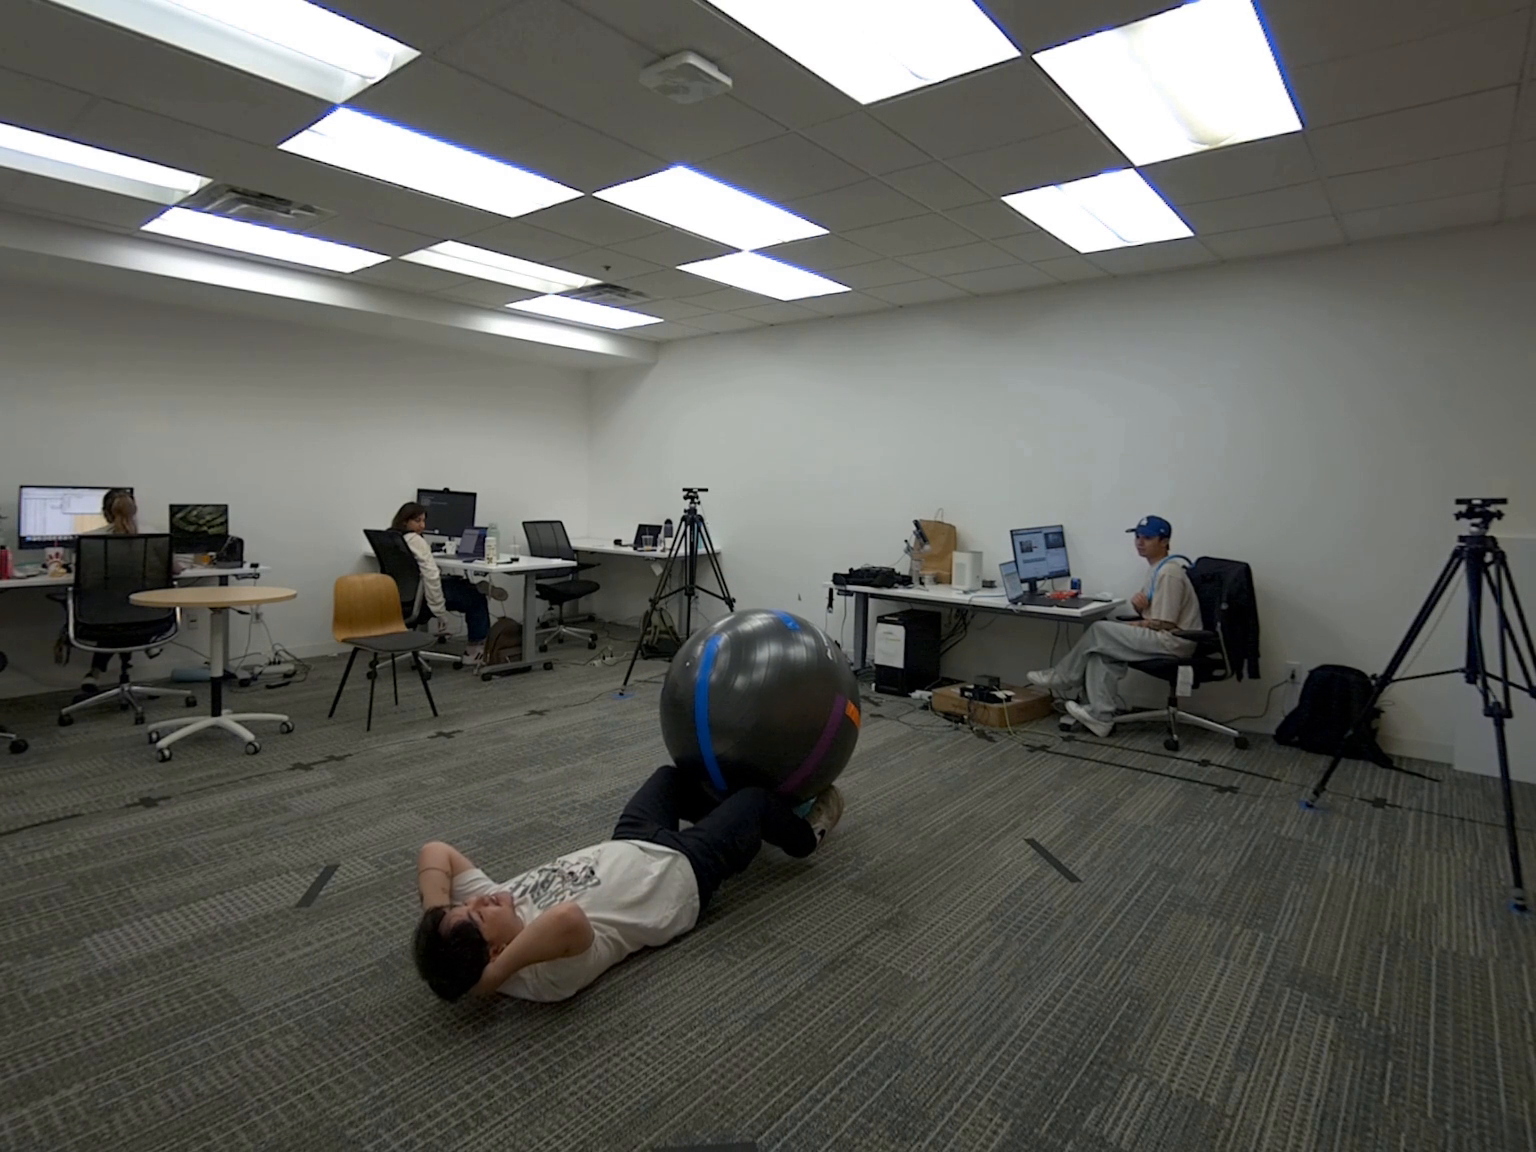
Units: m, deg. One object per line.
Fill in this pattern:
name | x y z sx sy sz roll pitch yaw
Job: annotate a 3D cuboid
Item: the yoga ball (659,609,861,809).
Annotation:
yoga ball | -0.039 0.496 3.223 0.757 0.755 0.762 1 4 -2
